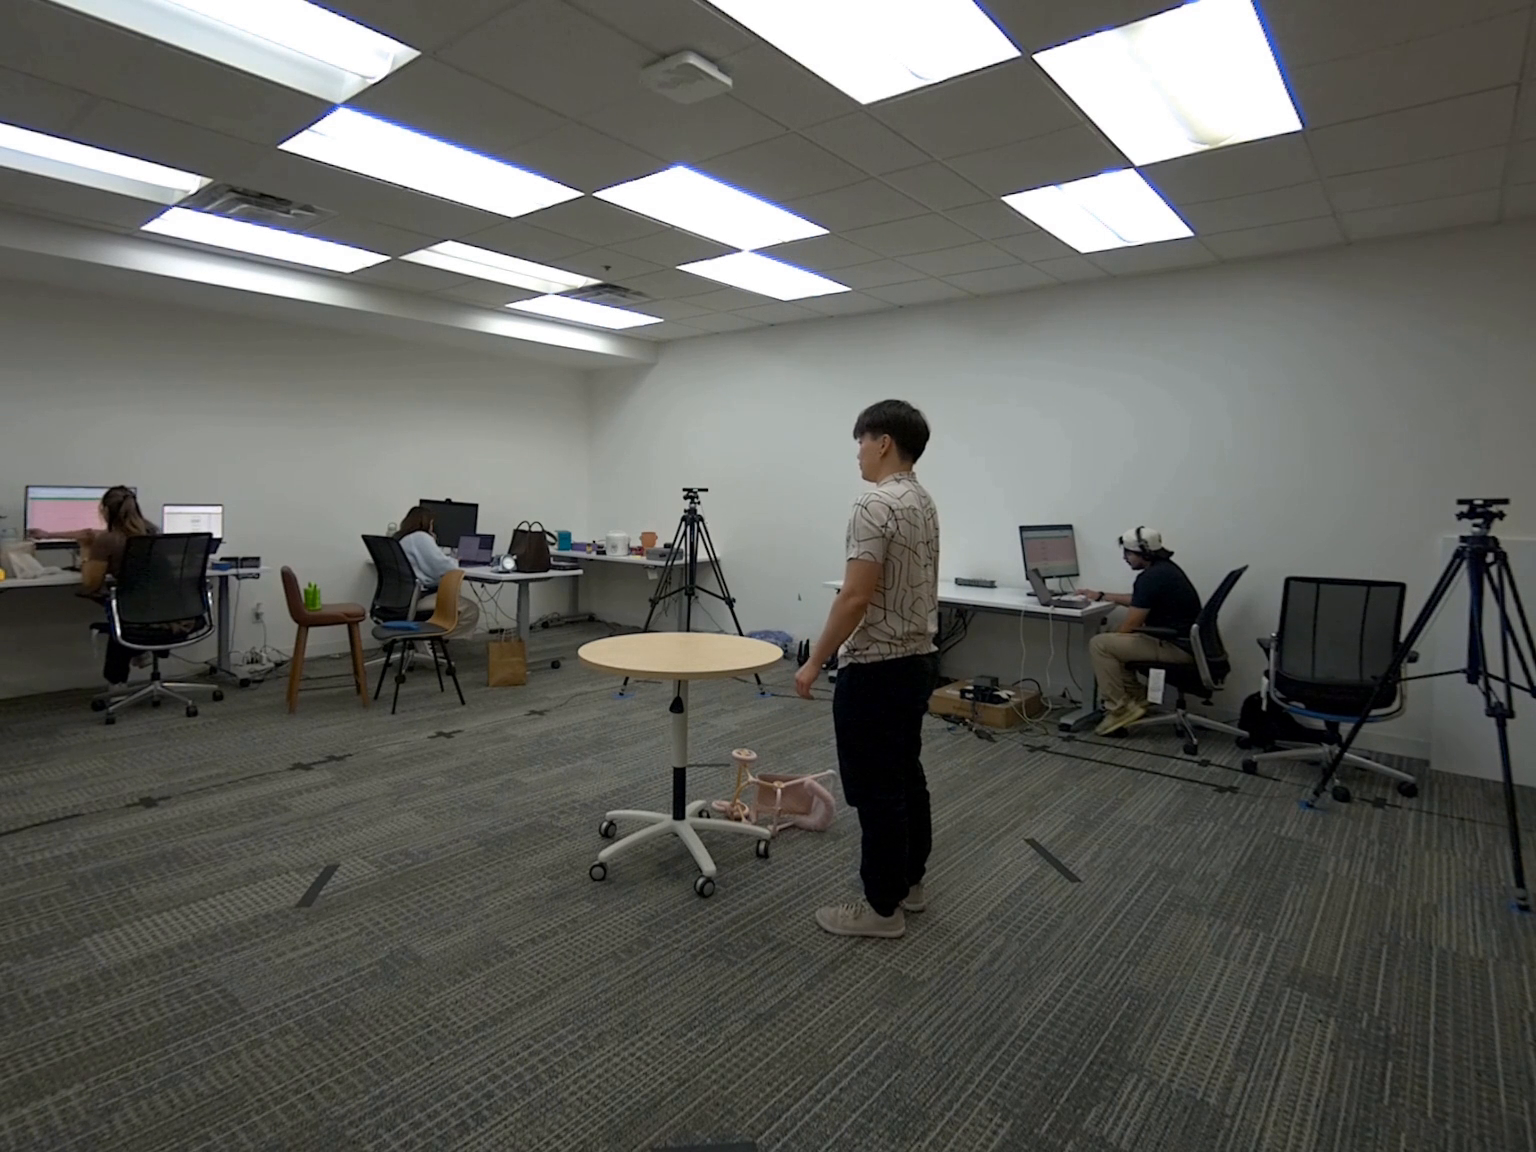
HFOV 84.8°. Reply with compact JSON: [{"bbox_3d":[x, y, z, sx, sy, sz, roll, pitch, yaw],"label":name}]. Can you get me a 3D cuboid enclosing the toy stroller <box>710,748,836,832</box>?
[{"bbox_3d":[0.034,0.916,3.511,0.535,0.280,0.343,8,7,0],"label":"toy stroller"}]
